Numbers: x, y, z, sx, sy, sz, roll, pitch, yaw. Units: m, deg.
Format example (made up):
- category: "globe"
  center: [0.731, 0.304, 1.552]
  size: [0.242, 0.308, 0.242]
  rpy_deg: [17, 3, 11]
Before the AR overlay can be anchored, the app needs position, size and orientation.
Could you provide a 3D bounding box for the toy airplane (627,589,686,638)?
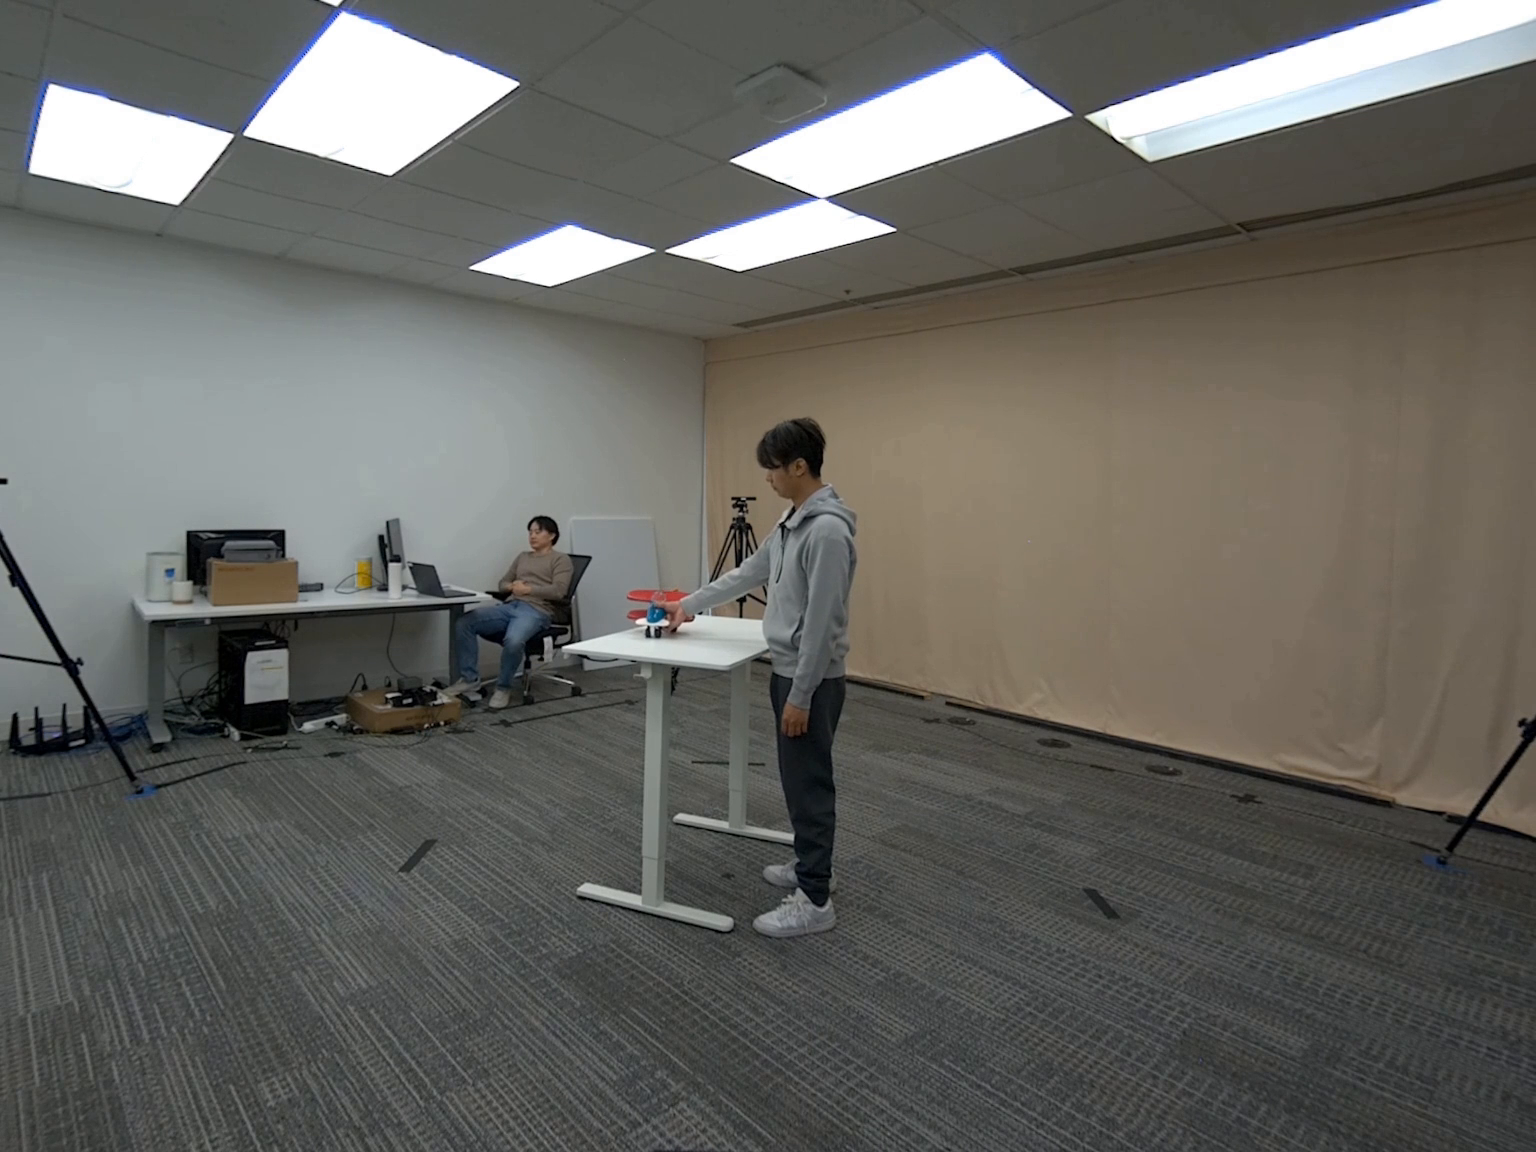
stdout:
- category: "toy airplane"
  center: [-0.389, 0.137, 3.123]
  size: [0.247, 0.156, 0.264]
  rpy_deg: [2, 2, -22]
